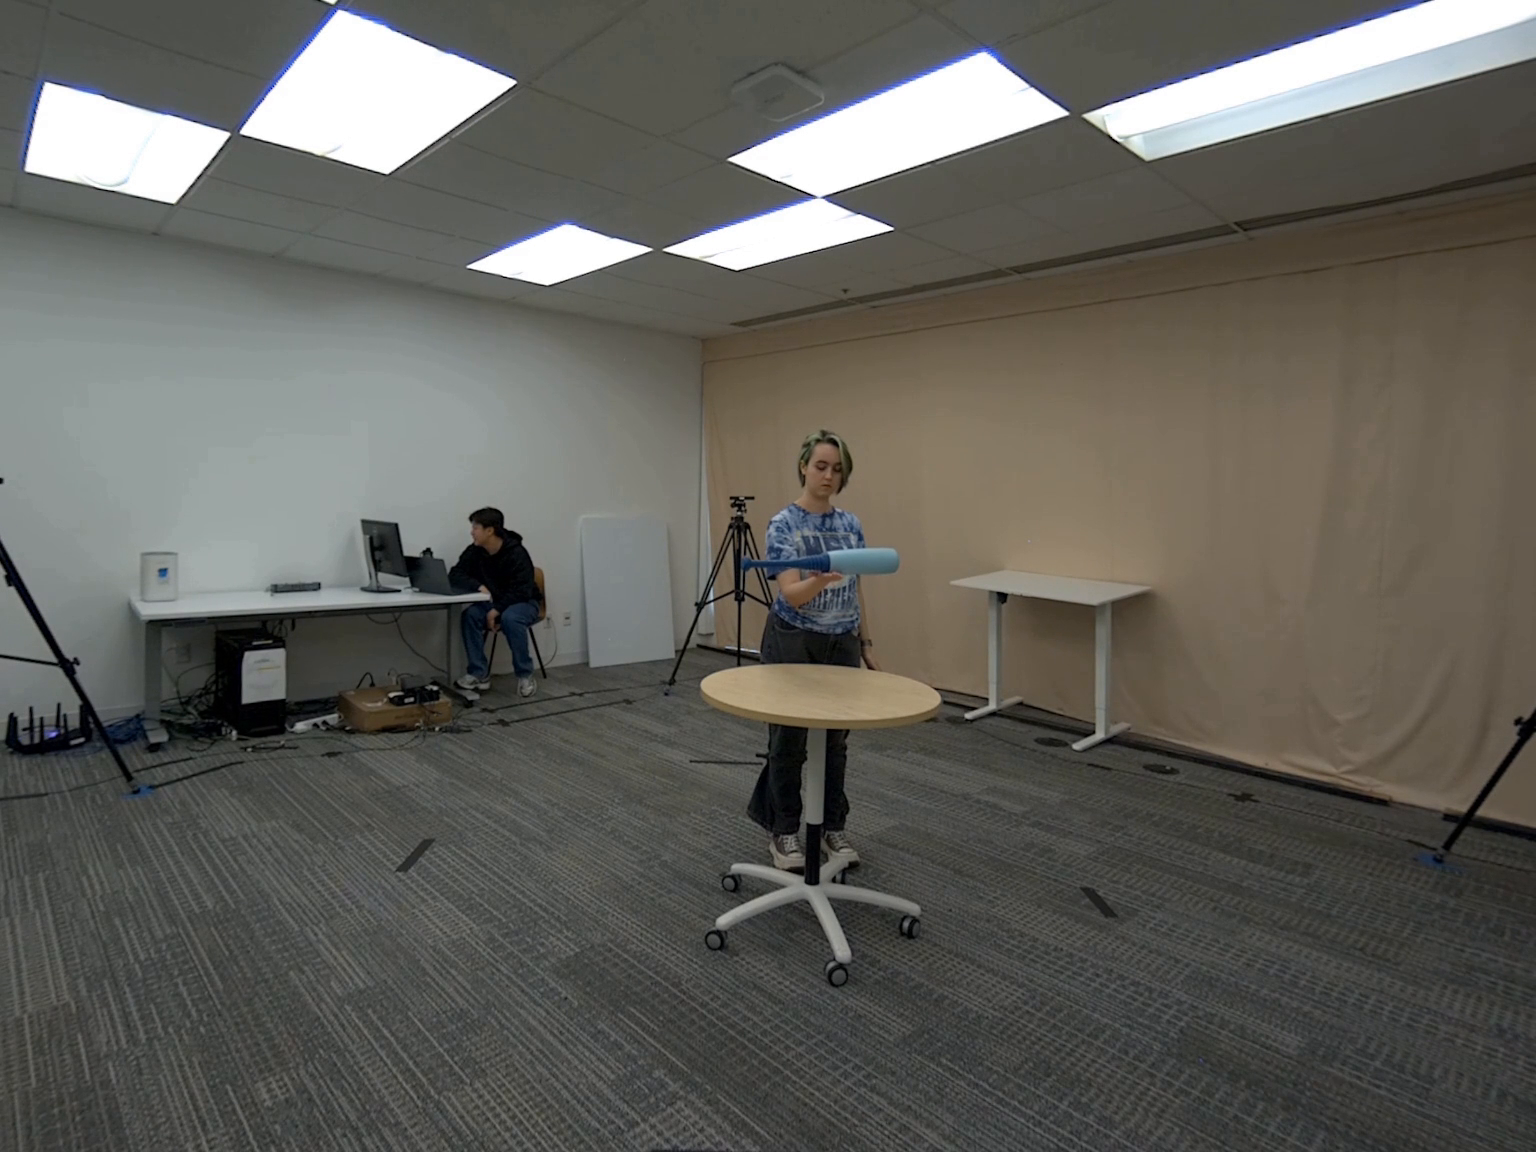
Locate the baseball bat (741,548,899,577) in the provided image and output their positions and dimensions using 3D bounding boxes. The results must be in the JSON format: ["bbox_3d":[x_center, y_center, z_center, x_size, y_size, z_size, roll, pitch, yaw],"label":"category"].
[{"bbox_3d":[0.168,-0.040,2.767,0.537,0.089,0.090,-2,5,-15],"label":"baseball bat"}]
